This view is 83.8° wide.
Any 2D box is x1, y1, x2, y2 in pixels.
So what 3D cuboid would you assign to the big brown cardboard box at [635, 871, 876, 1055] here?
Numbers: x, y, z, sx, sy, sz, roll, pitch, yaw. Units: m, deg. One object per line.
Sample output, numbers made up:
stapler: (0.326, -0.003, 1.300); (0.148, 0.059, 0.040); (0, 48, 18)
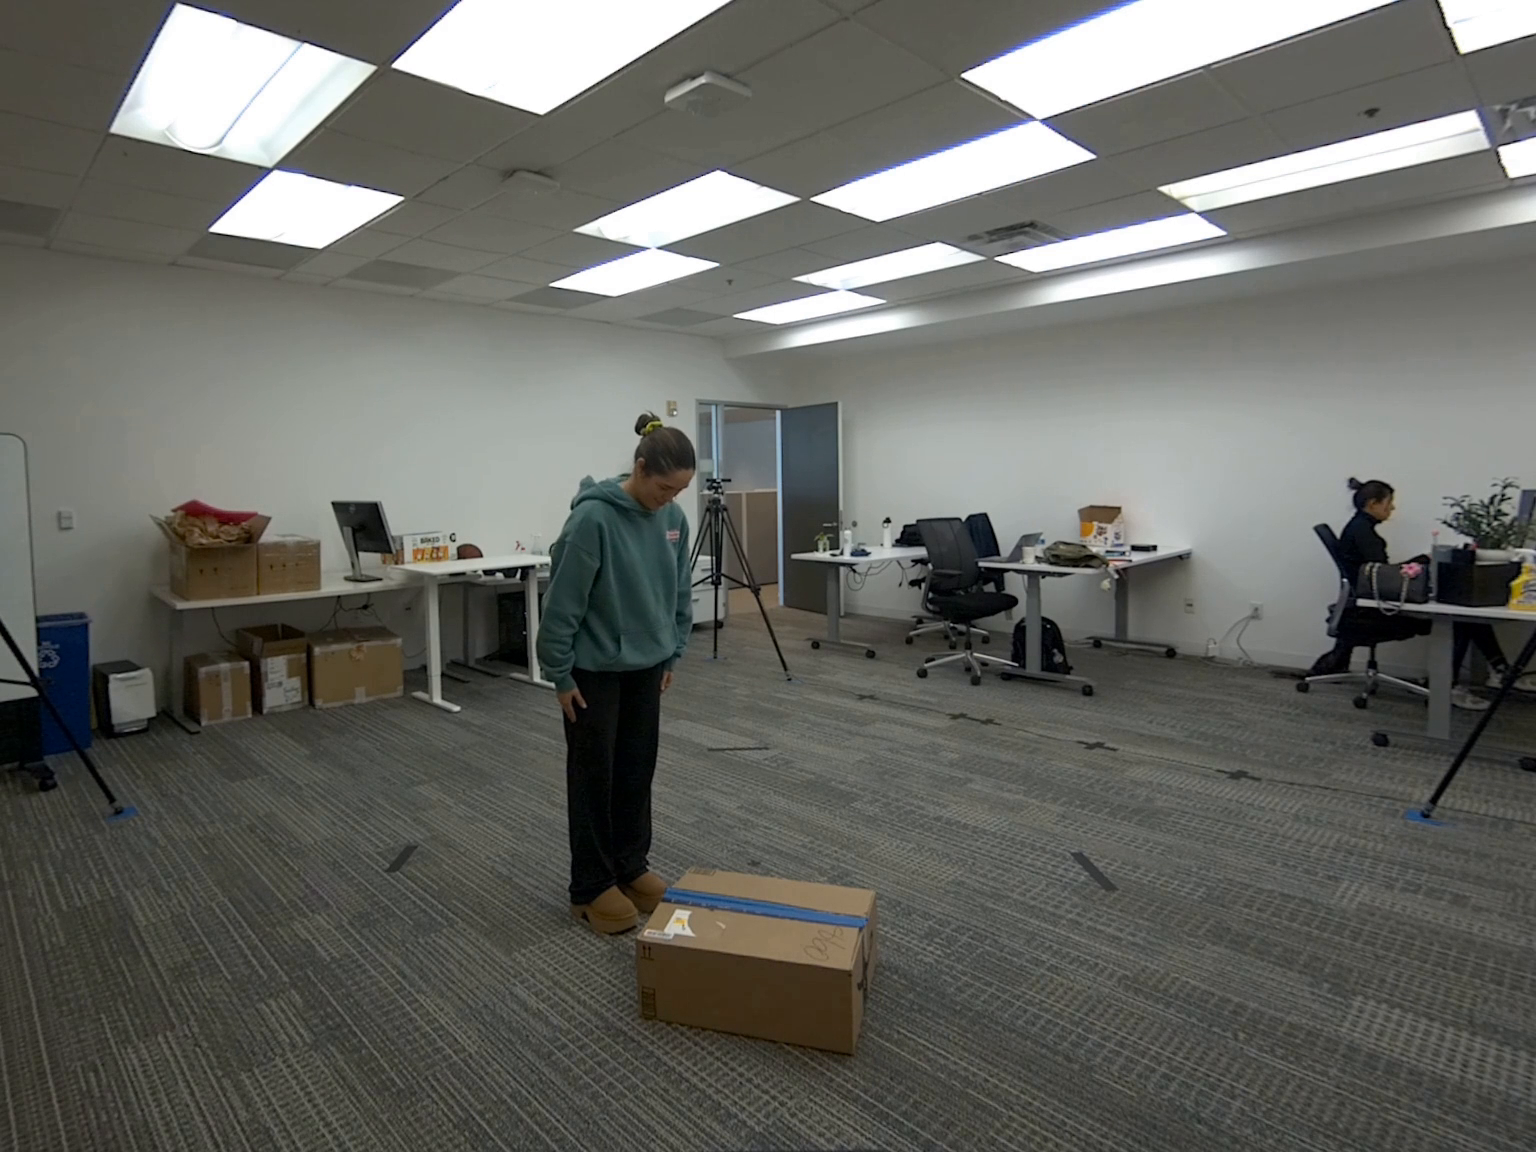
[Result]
big brown cardboard box: (-0.016, 1.019, 2.337); (0.599, 0.232, 0.413); (1, 6, 16)
